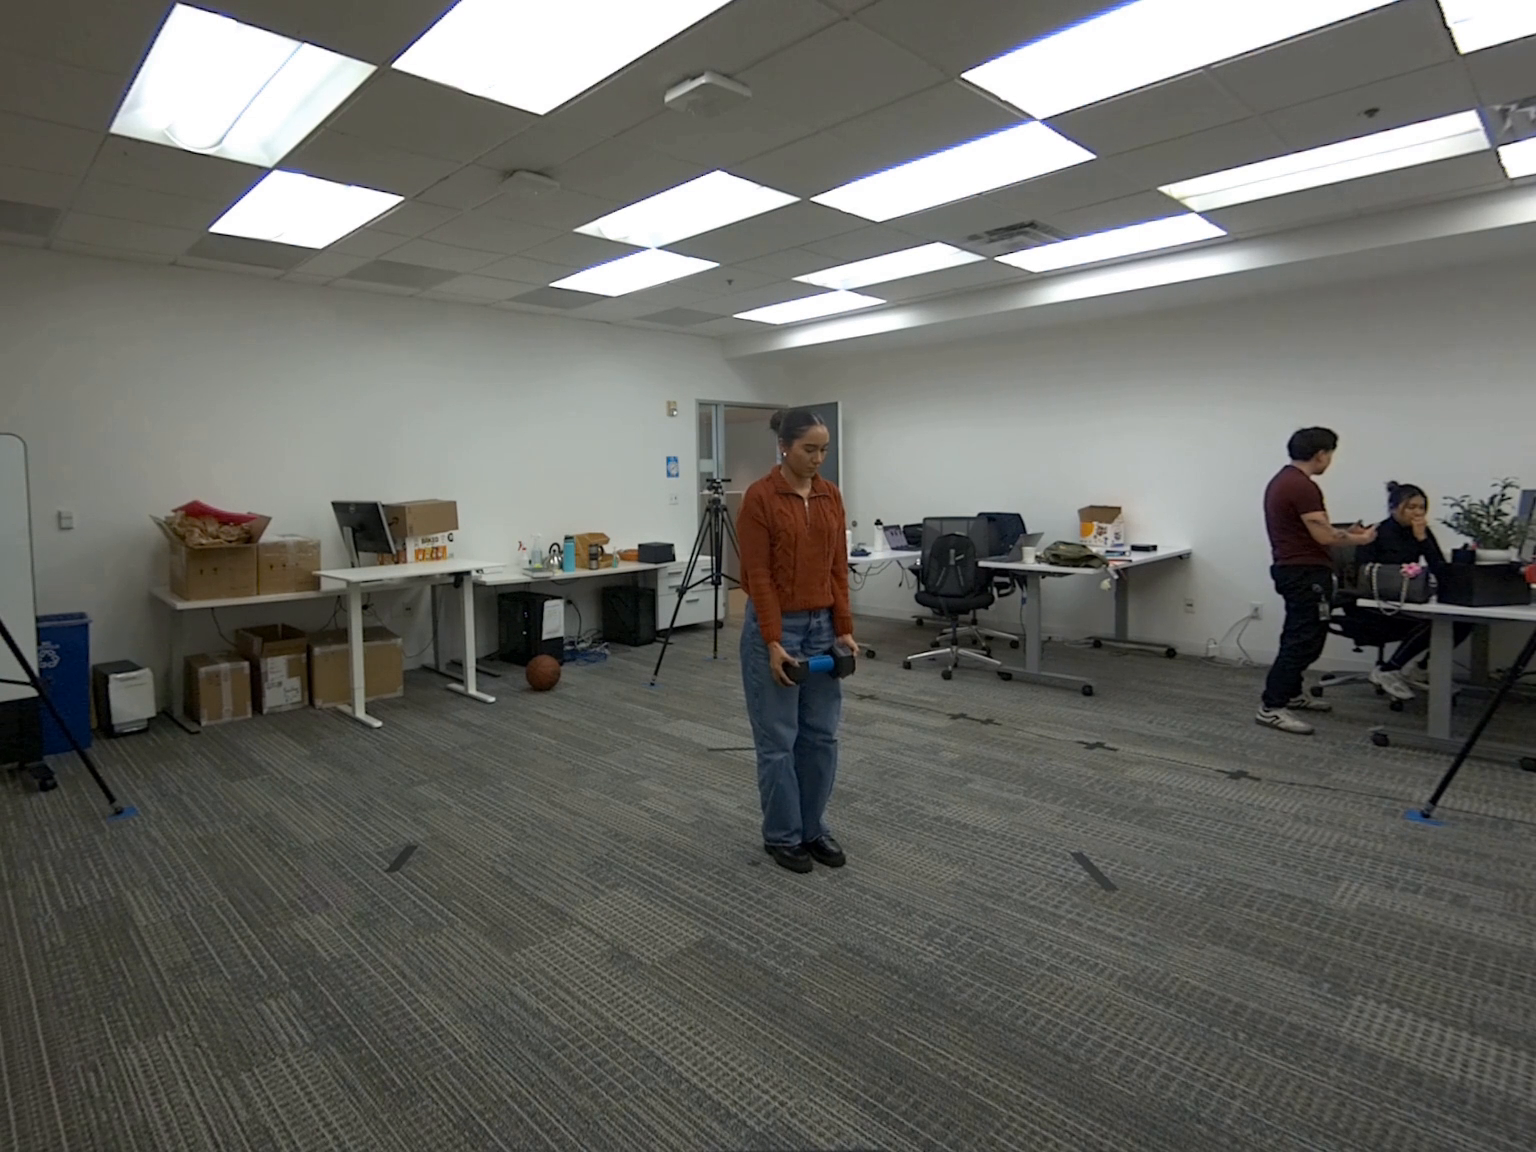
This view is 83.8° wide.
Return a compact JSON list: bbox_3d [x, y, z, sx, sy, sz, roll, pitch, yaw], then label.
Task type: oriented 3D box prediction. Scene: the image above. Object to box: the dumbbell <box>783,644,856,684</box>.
[{"bbox_3d":[0.161,0.312,3.039,0.287,0.122,0.112,-5,8,-30],"label":"dumbbell"}]
